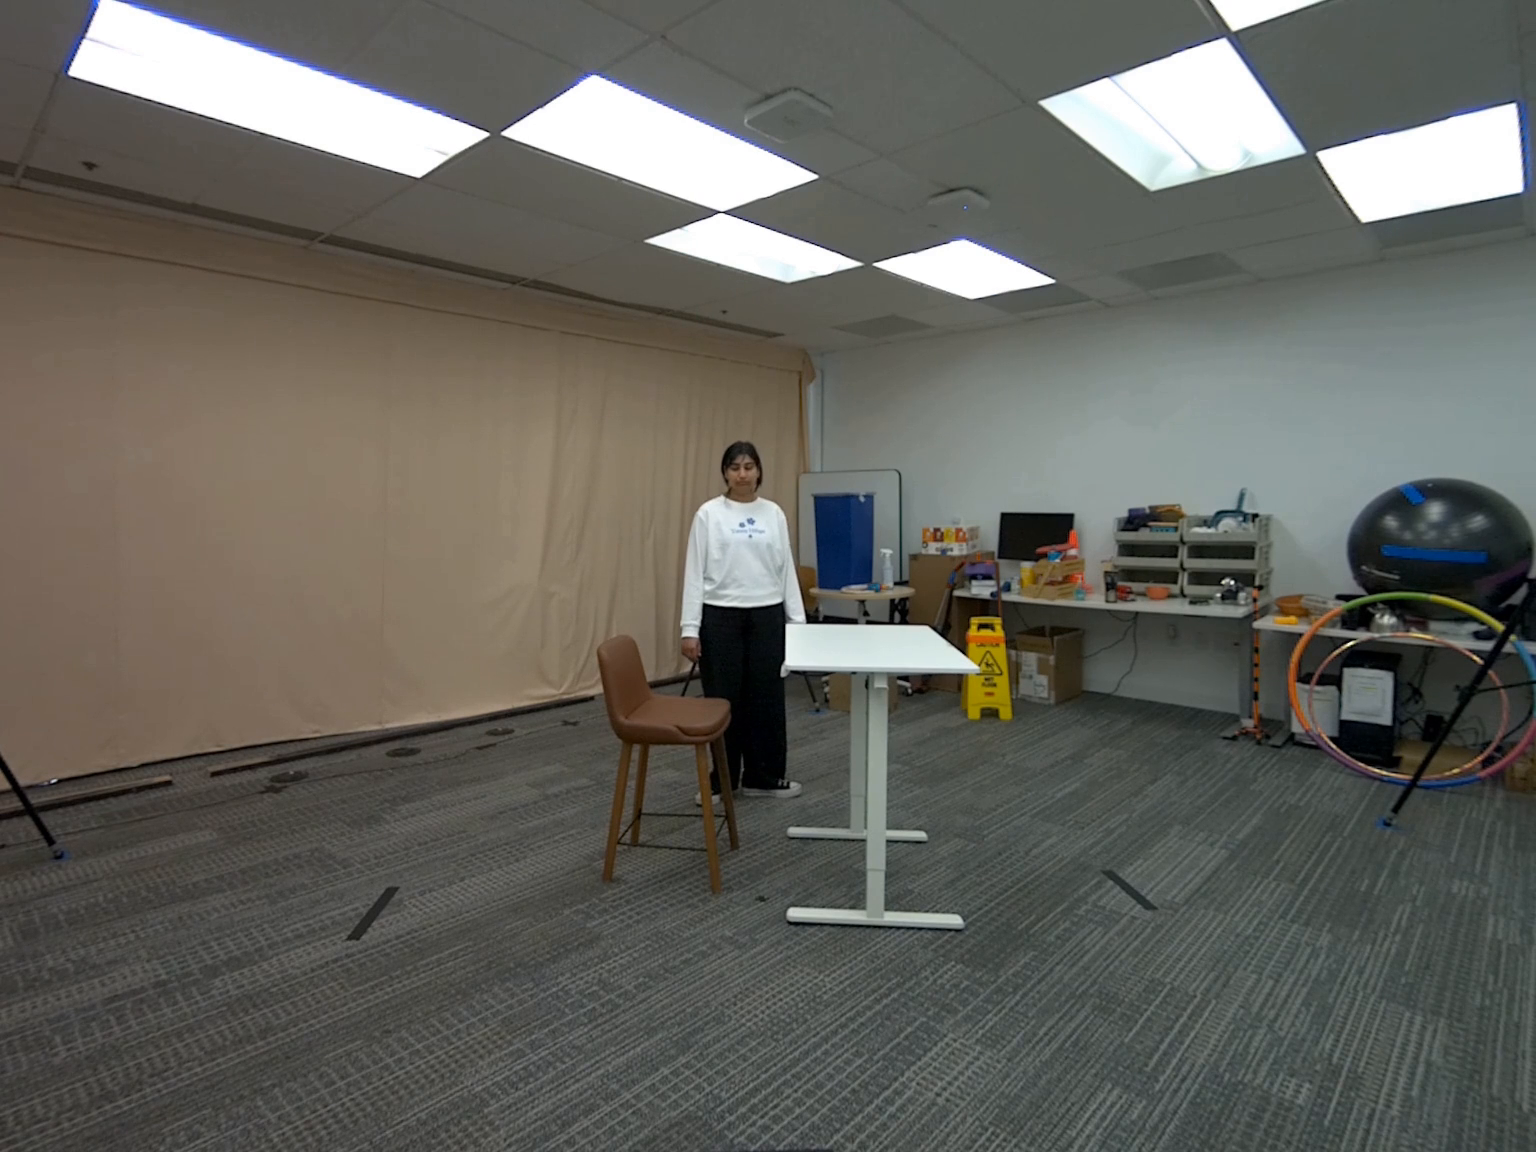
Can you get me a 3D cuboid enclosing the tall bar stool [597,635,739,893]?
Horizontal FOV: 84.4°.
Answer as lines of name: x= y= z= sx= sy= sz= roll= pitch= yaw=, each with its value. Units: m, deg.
tall bar stool: x=-0.378 y=0.693 z=3.243 sx=0.474 sy=0.888 sz=0.451 roll=-1 pitch=3 yaw=11
